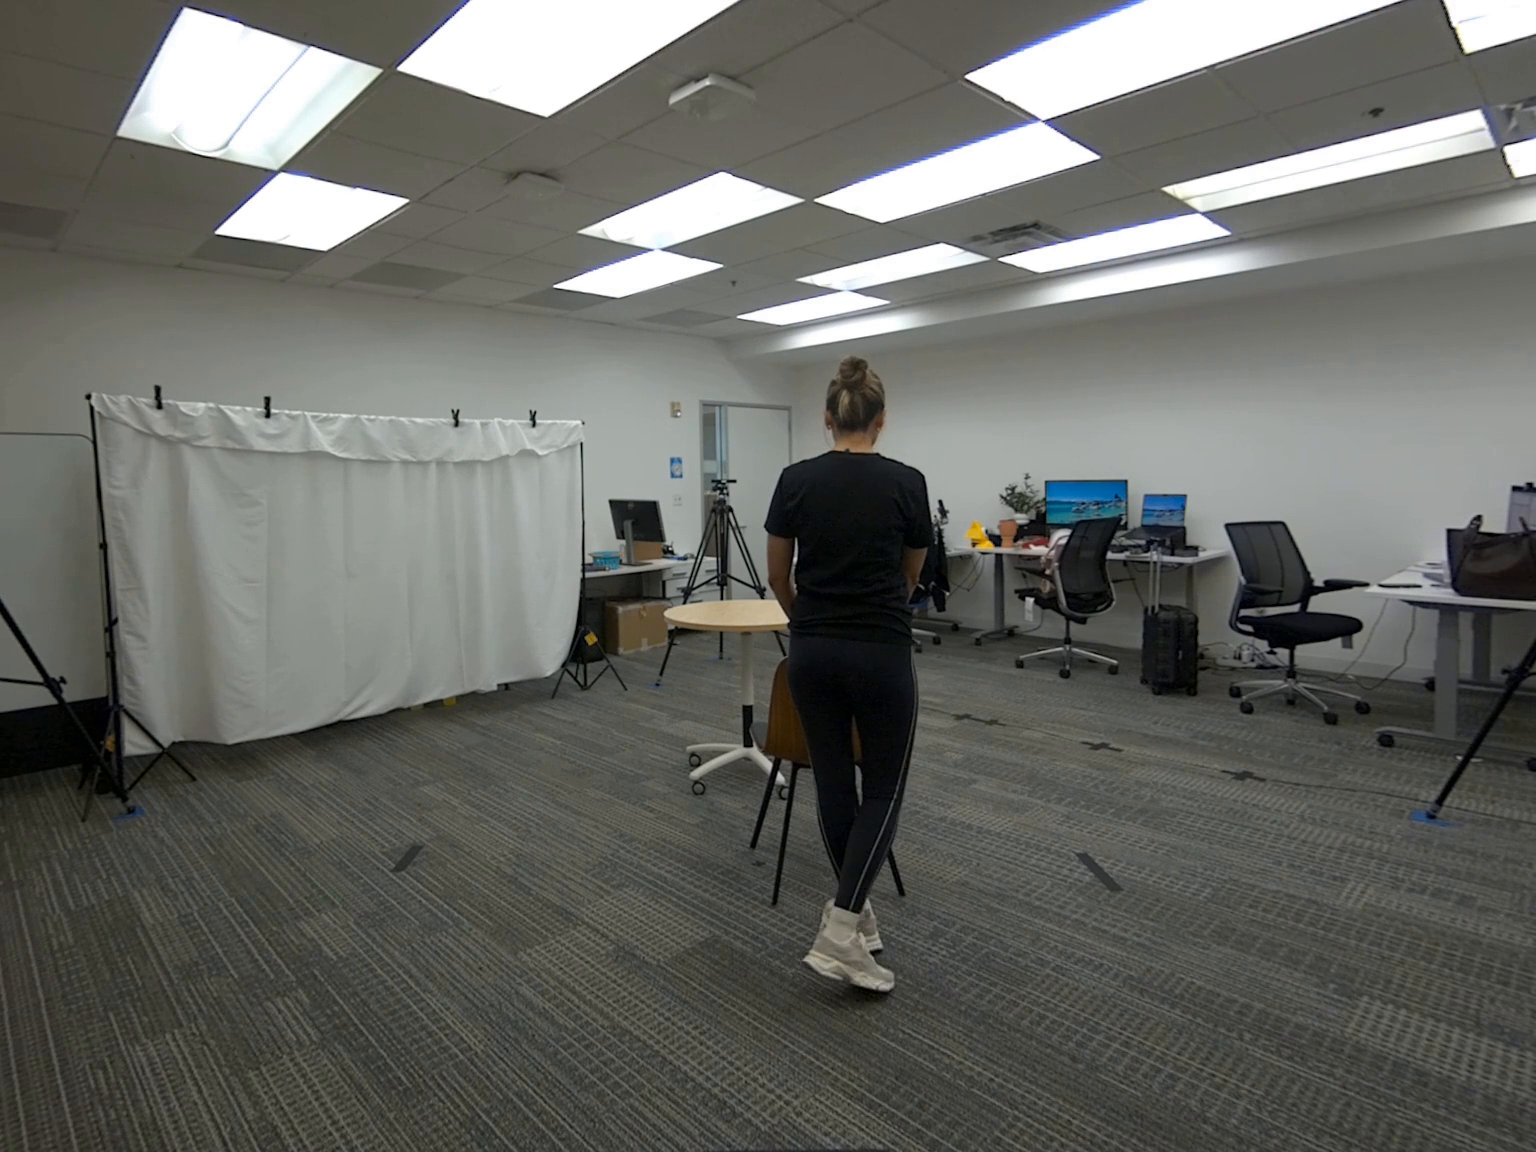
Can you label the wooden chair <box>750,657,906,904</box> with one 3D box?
[{"bbox_3d":[0.186,0.629,3.025,0.474,0.871,0.531,-2,8,-9],"label":"wooden chair"}]
